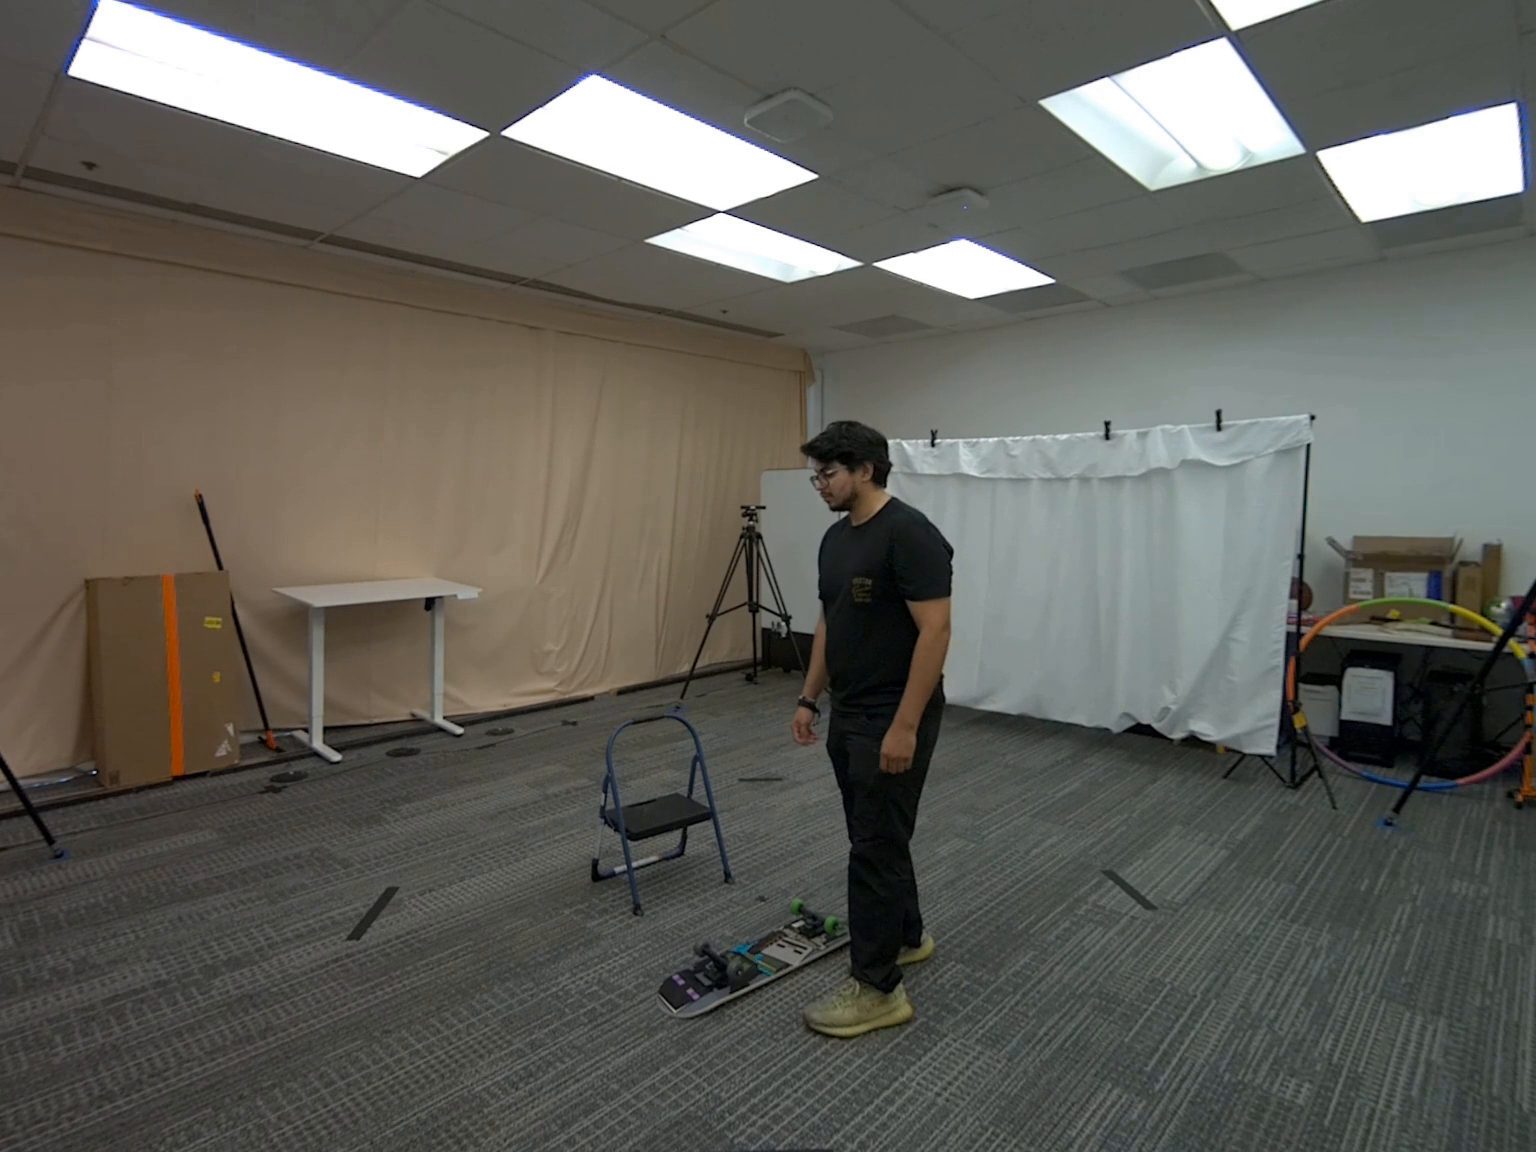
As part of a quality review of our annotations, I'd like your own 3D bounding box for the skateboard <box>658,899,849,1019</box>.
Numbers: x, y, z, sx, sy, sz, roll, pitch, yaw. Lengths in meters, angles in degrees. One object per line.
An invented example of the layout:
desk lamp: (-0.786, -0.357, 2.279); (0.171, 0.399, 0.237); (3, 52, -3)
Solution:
skateboard: (0.002, 1.133, 2.559); (0.762, 0.110, 0.200); (-4, 6, -41)
